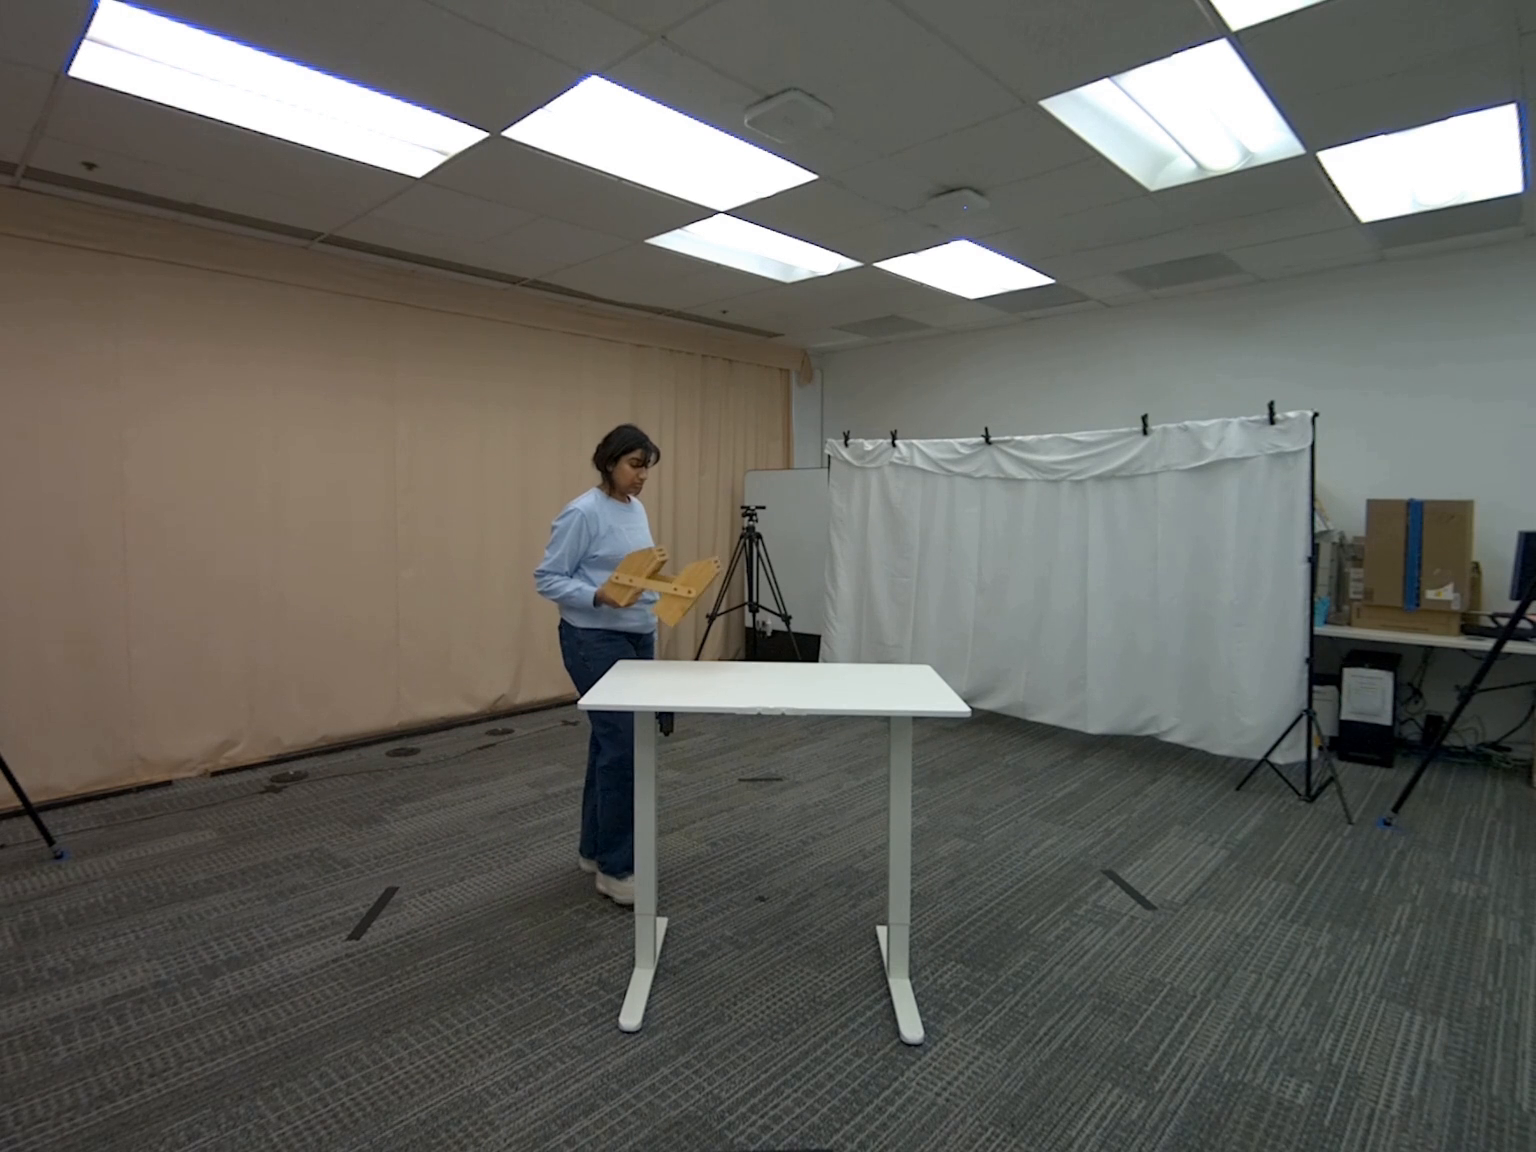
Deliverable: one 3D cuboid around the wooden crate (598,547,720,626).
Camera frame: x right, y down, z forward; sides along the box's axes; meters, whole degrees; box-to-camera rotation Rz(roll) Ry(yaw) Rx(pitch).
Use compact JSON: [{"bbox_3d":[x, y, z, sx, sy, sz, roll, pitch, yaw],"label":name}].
[{"bbox_3d":[-0.345,0.001,2.825,0.274,0.302,0.324,39,2,0],"label":"wooden crate"}]
